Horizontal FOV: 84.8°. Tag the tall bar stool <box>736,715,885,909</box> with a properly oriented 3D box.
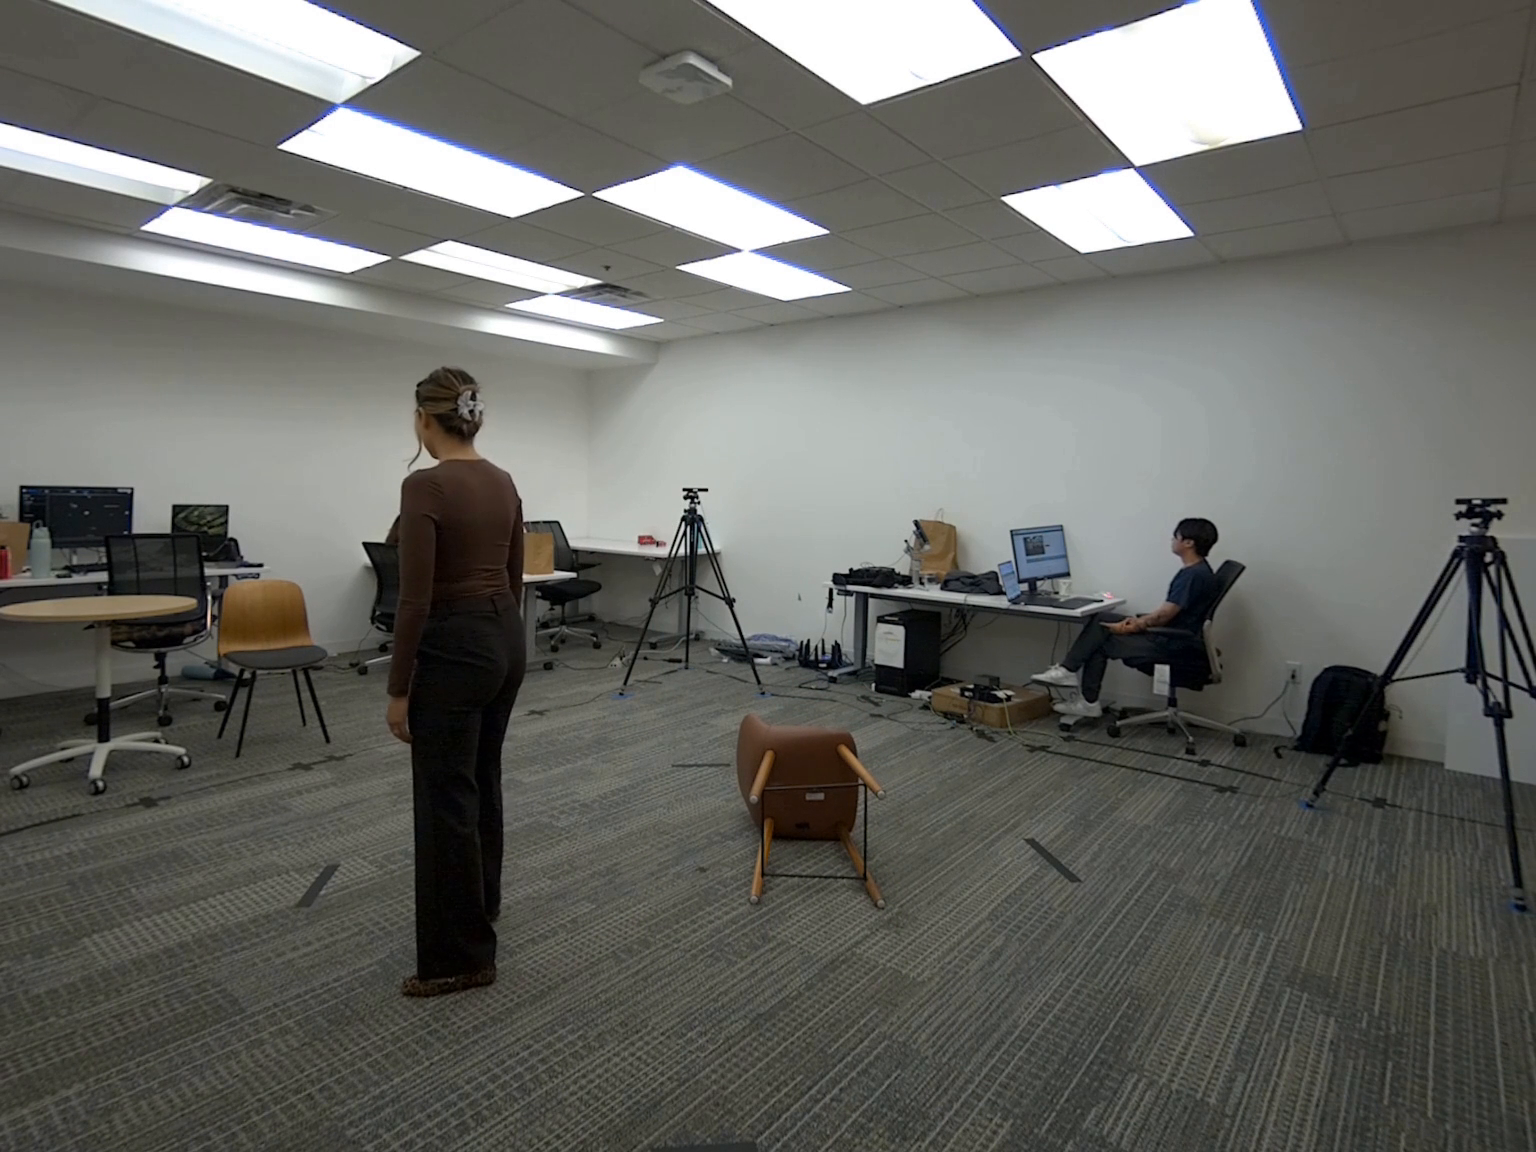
[{"bbox_3d":[0.129,0.847,3.260,0.466,0.454,0.898,-1,7,-4],"label":"tall bar stool"}]
